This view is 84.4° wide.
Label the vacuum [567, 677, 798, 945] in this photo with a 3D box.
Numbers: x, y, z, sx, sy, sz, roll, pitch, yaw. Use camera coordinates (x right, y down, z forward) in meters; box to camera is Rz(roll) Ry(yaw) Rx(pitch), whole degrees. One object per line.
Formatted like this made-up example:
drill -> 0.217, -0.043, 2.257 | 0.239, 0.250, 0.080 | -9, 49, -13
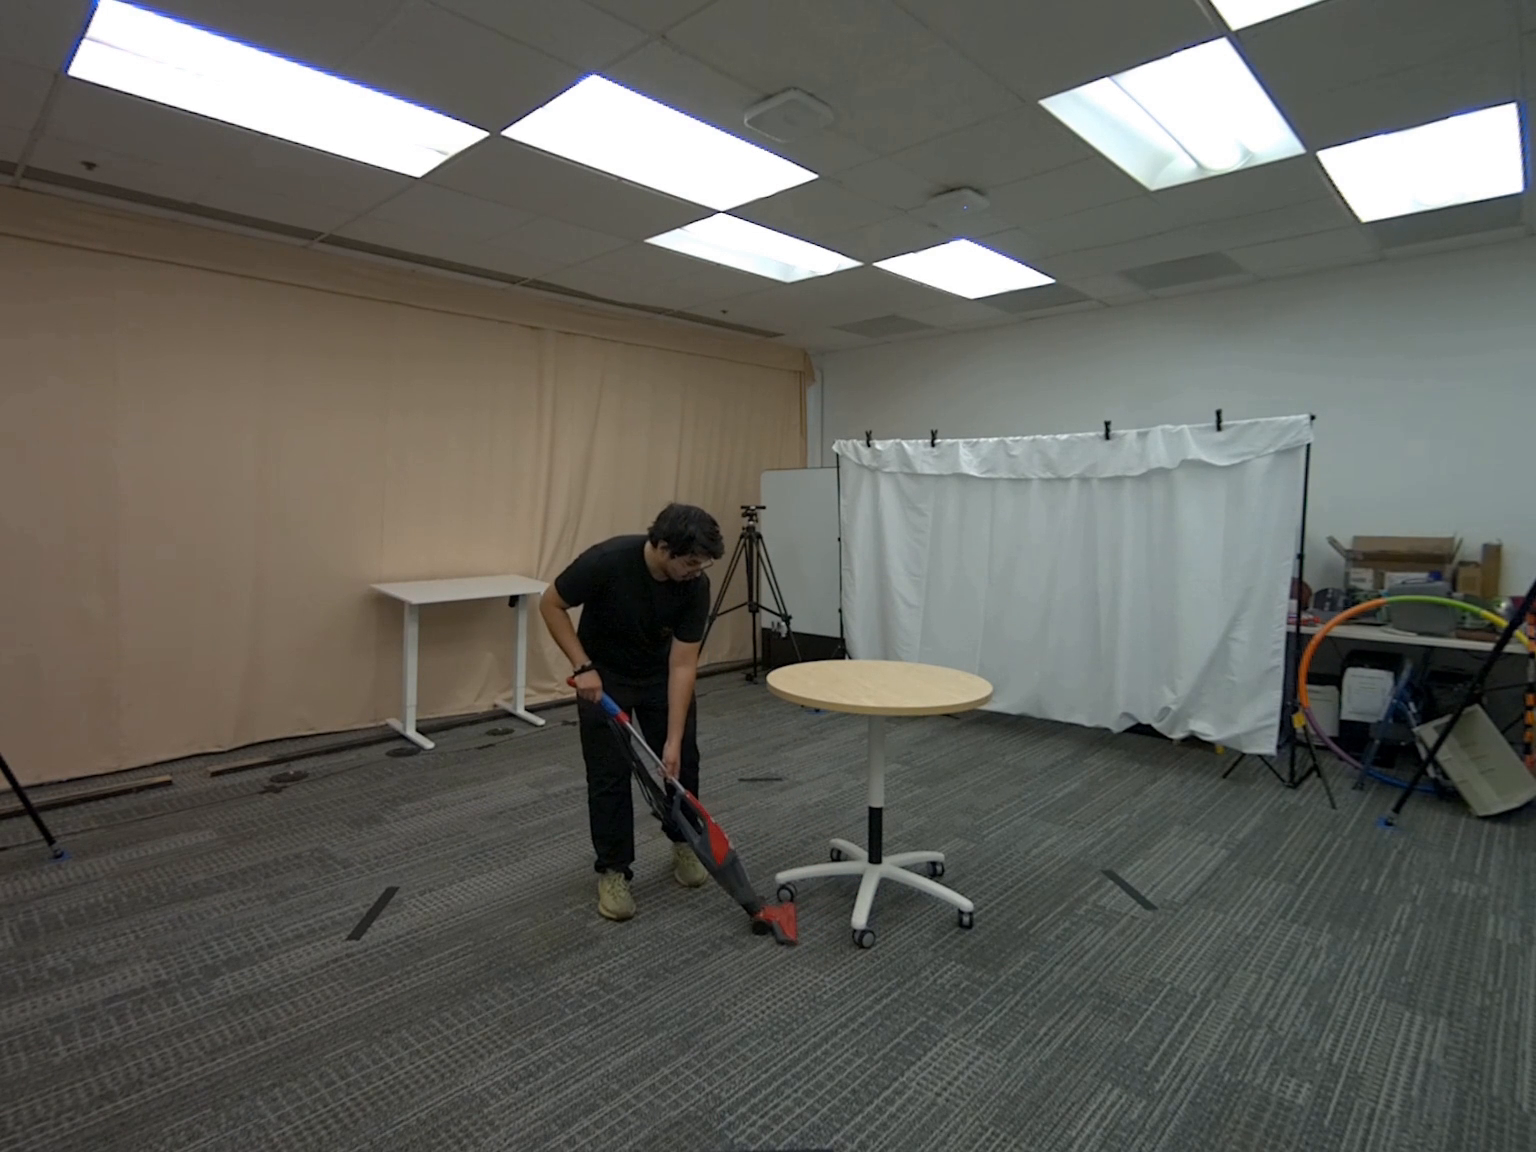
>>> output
vacuum -> -0.305, 0.737, 2.791 | 0.144, 1.048, 0.252 | -40, 1, 8
